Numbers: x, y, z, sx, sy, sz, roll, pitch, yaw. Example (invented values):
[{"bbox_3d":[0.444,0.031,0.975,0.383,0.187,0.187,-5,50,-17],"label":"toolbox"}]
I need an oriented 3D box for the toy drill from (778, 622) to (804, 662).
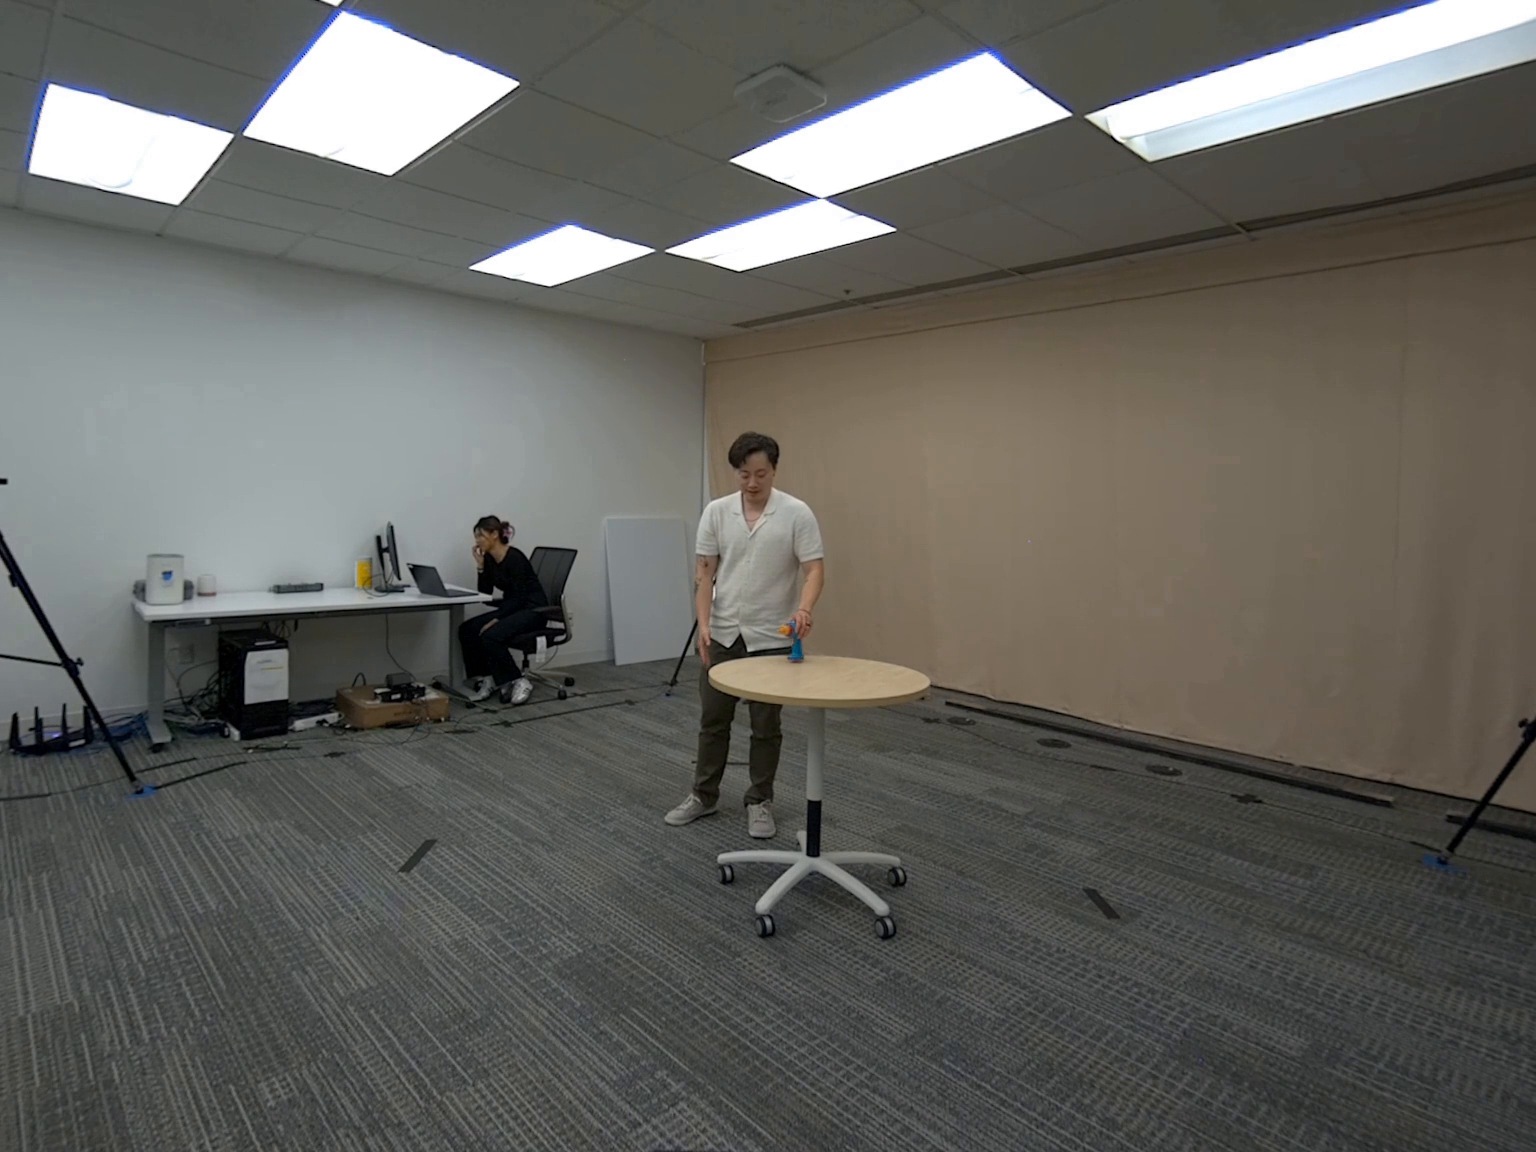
[{"bbox_3d":[0.072,0.236,3.157,0.062,0.146,0.166,1,0,30],"label":"toy drill"}]
